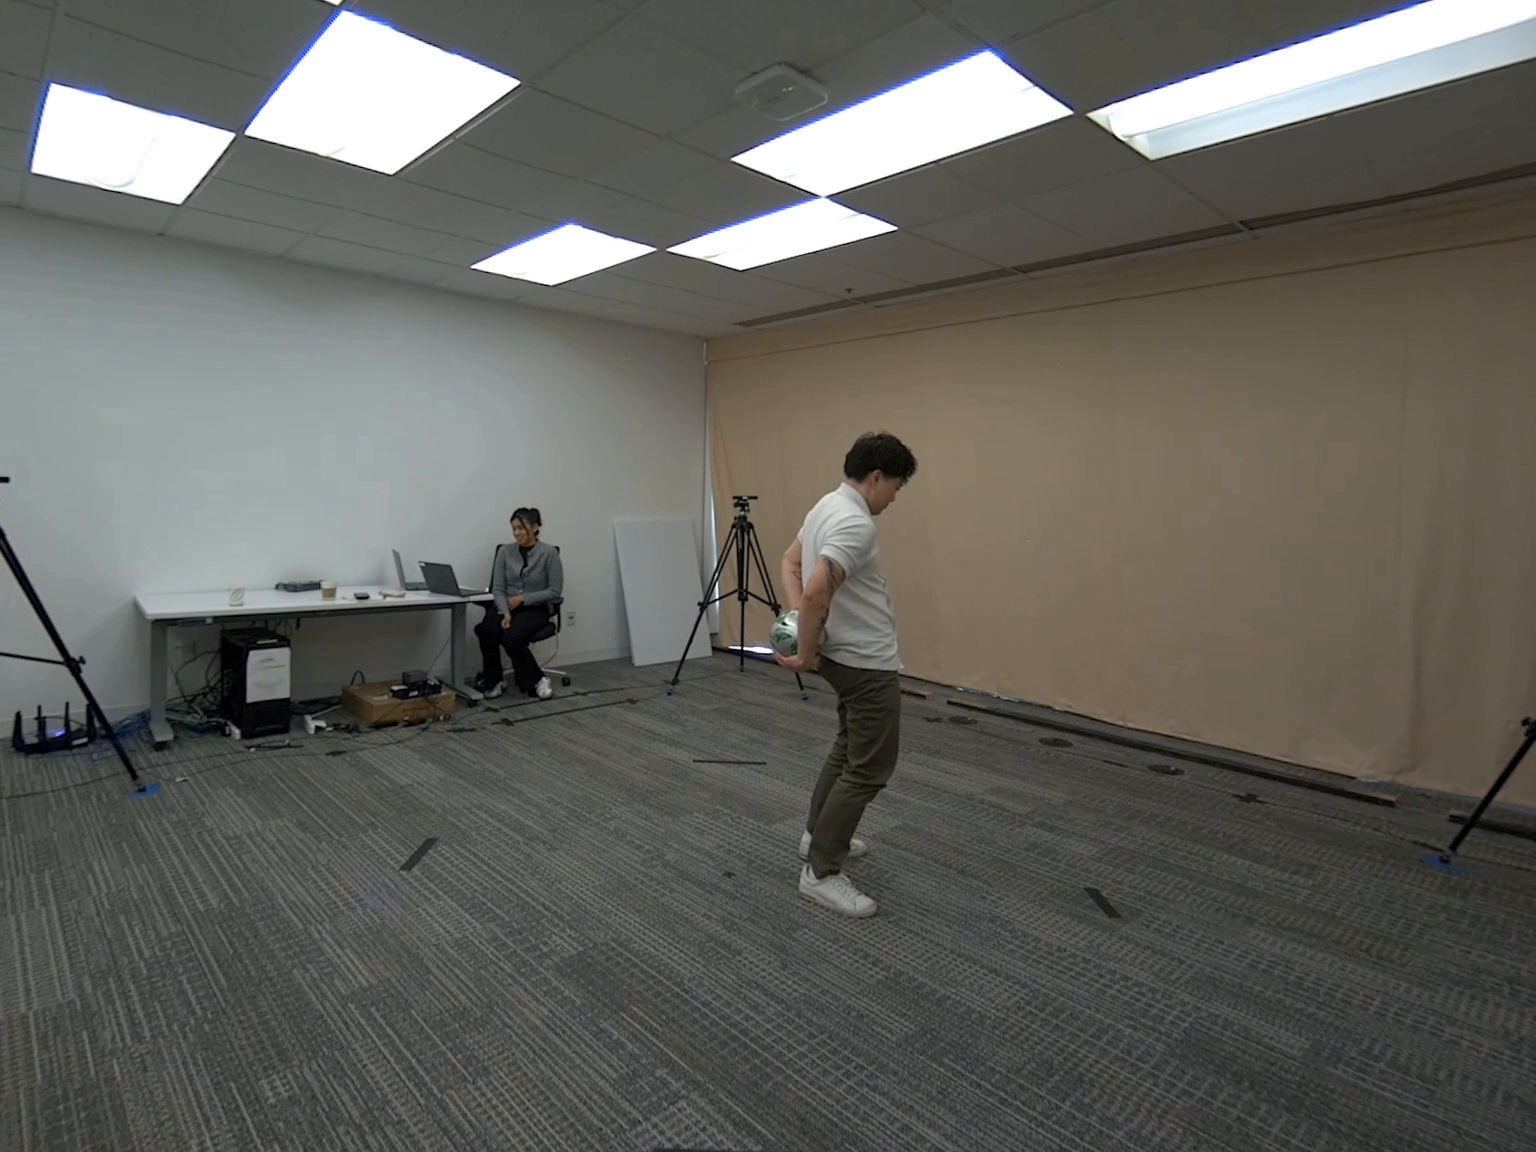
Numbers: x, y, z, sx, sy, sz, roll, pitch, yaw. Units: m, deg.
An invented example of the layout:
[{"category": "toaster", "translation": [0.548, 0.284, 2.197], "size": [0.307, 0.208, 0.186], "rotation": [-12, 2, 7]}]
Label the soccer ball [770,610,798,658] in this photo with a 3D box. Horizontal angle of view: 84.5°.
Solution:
[{"category": "soccer ball", "translation": [0.087, 0.208, 2.861], "size": [0.187, 0.187, 0.188], "rotation": [1, 4, -1]}]
